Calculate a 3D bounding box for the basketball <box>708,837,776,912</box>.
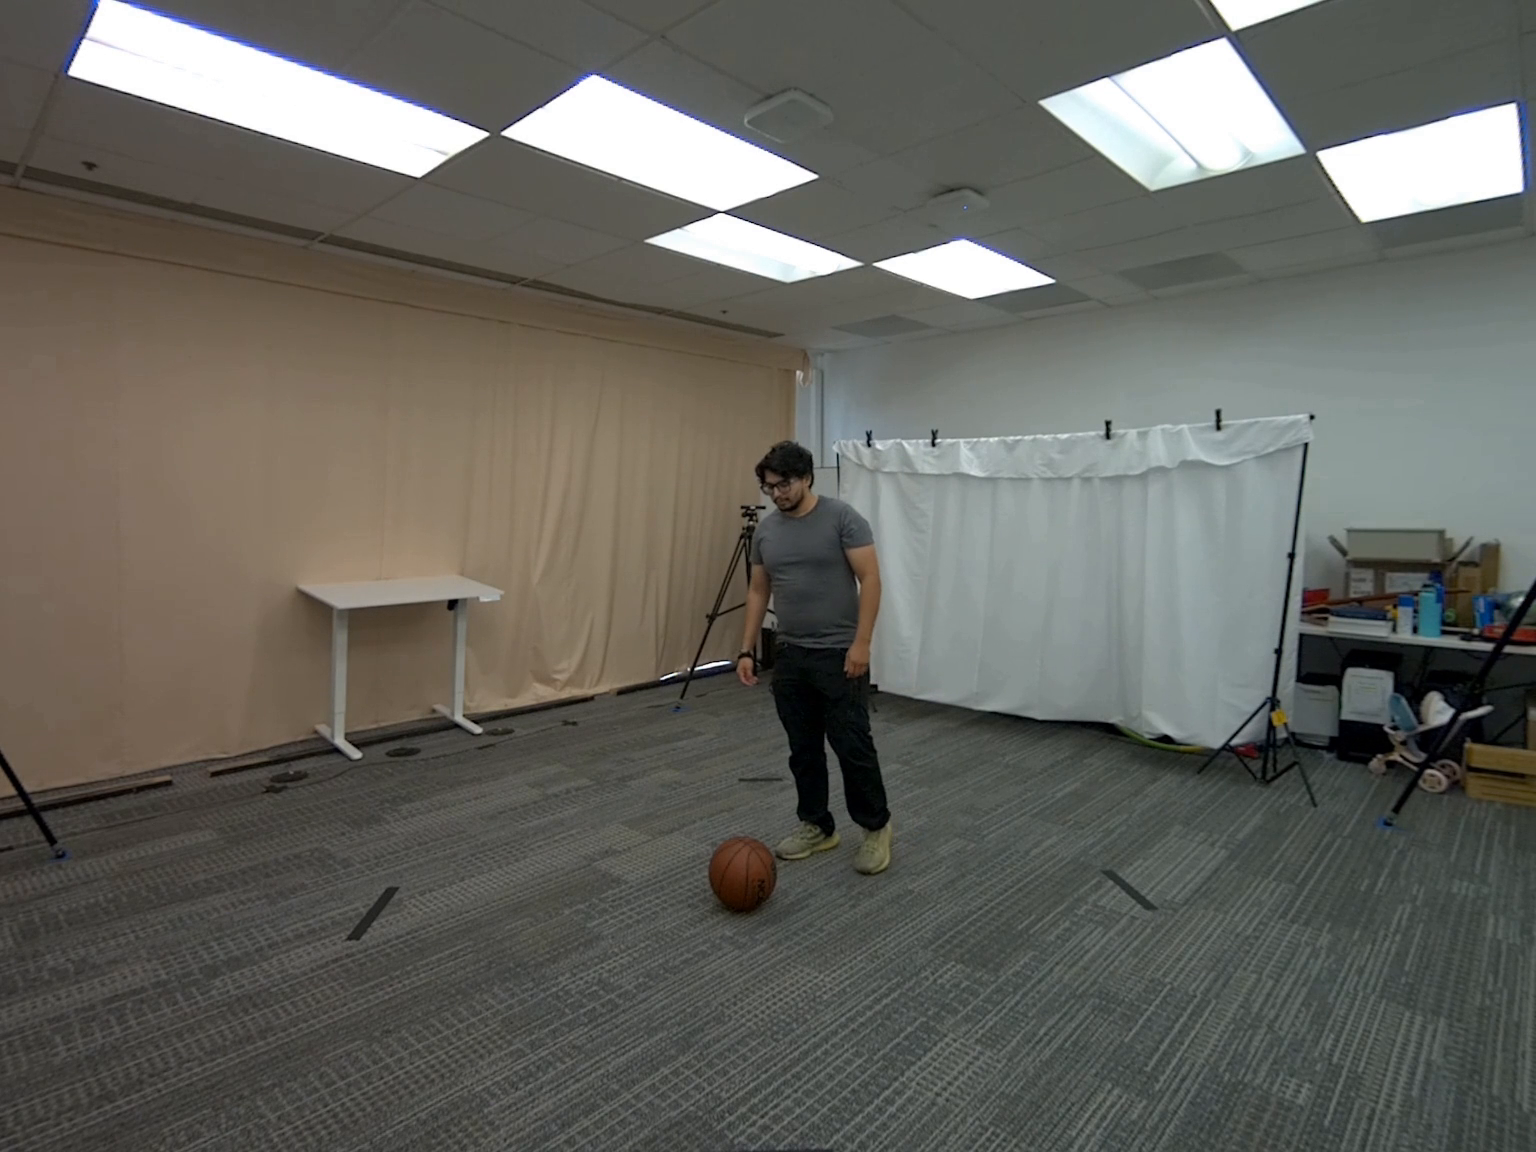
[{"bbox_3d":[-0.086,1.025,2.924,0.236,0.235,0.237,0,4,-2],"label":"basketball"}]
